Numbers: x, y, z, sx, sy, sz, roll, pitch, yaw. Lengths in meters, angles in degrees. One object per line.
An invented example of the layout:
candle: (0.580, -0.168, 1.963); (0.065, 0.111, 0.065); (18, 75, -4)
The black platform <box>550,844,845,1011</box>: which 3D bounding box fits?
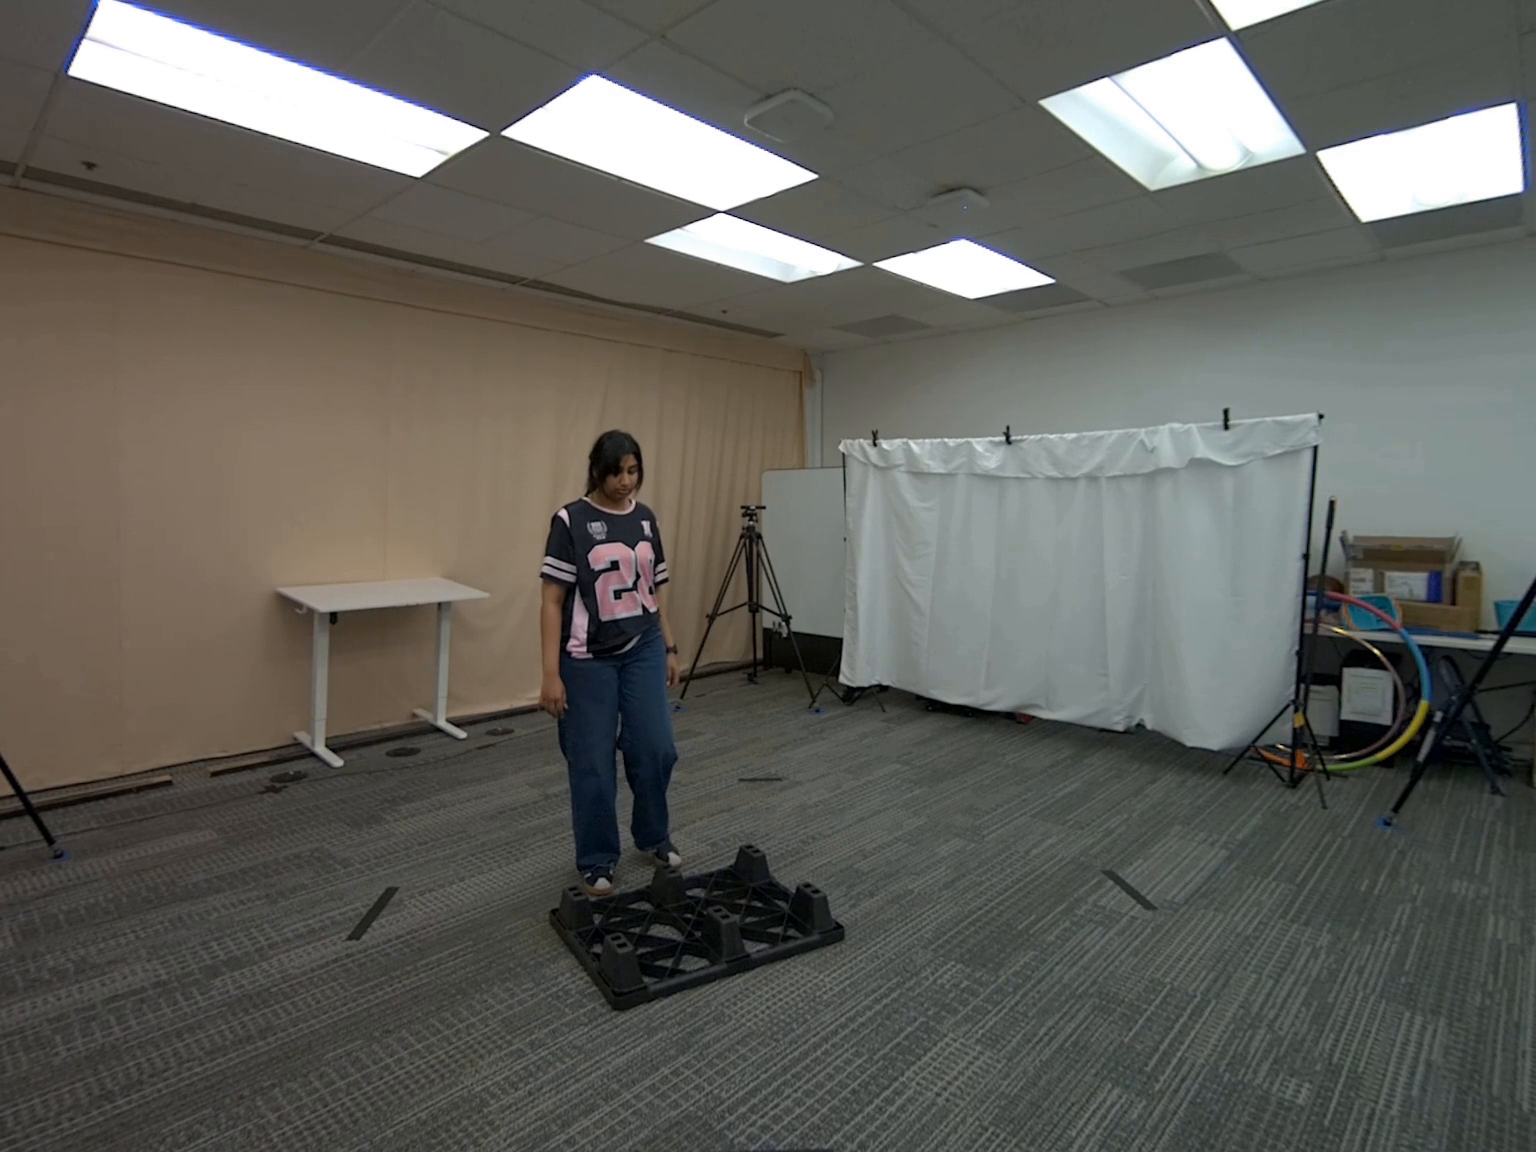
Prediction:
black platform: (-0.236, 1.098, 2.767); (0.784, 0.143, 0.623); (-3, 6, -31)
